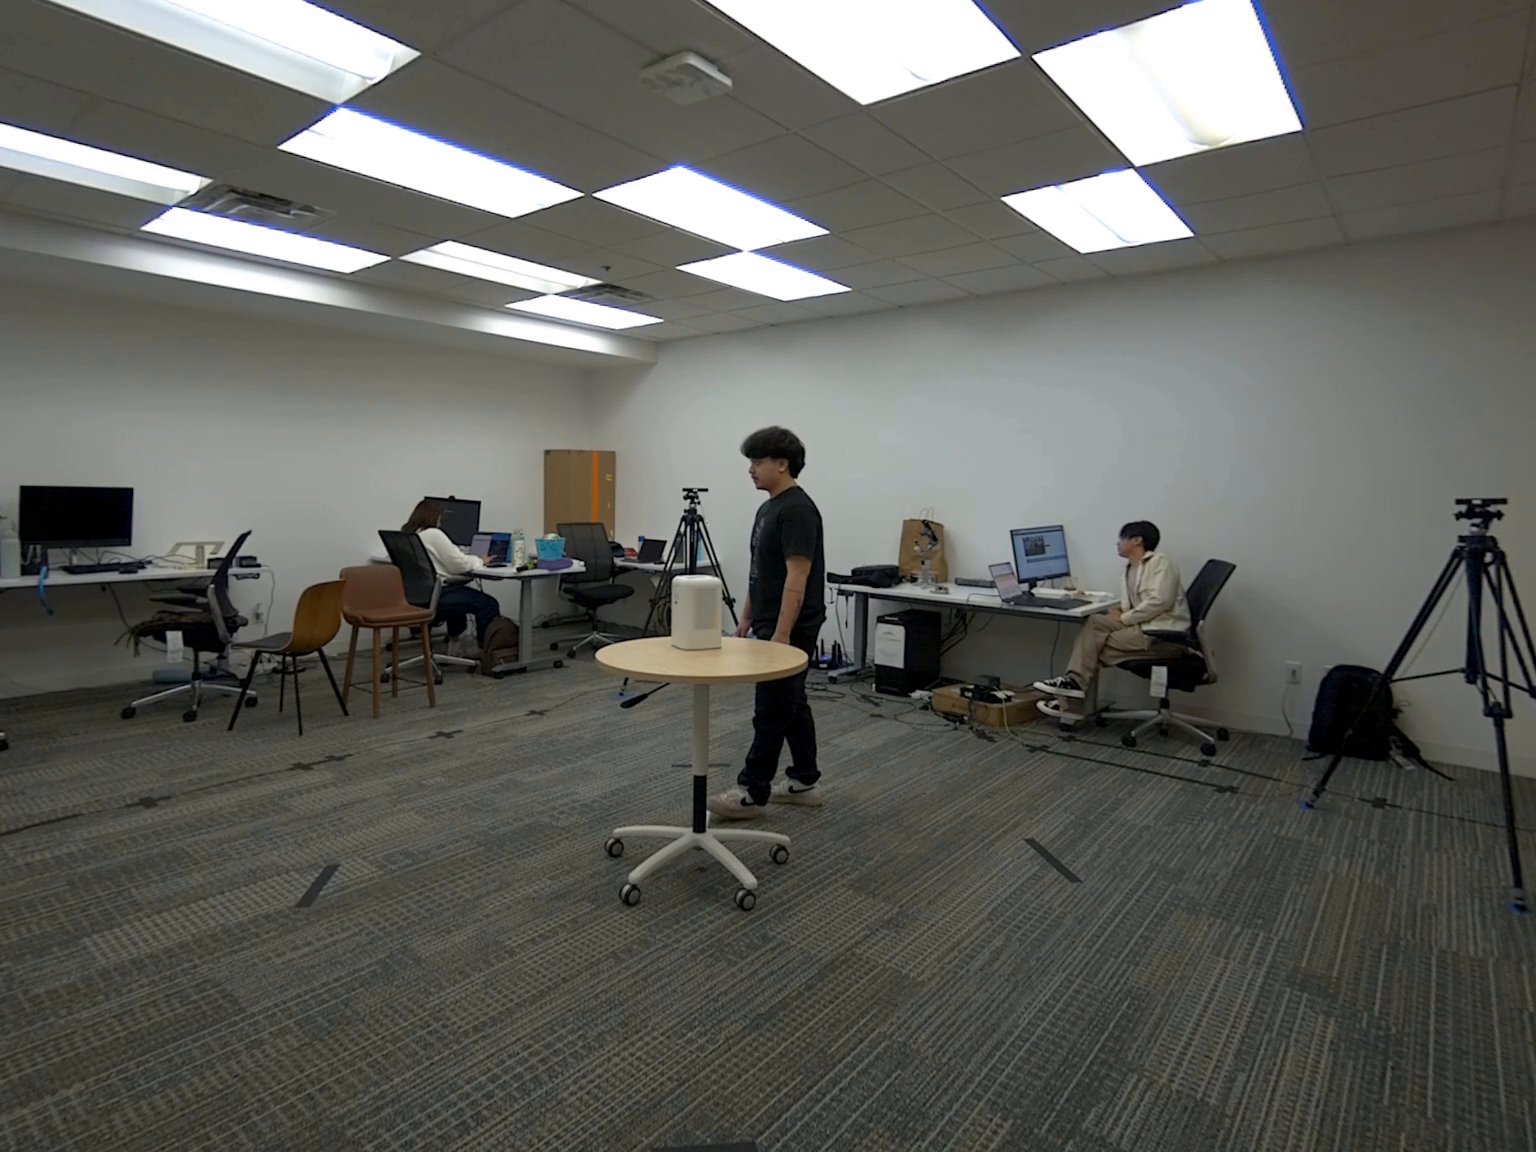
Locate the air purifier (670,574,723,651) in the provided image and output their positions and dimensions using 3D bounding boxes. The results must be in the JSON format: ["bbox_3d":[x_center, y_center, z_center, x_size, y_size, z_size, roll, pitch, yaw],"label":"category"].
[{"bbox_3d":[-0.283,0.132,3.229,0.167,0.265,0.175,-1,2,-26],"label":"air purifier"}]
